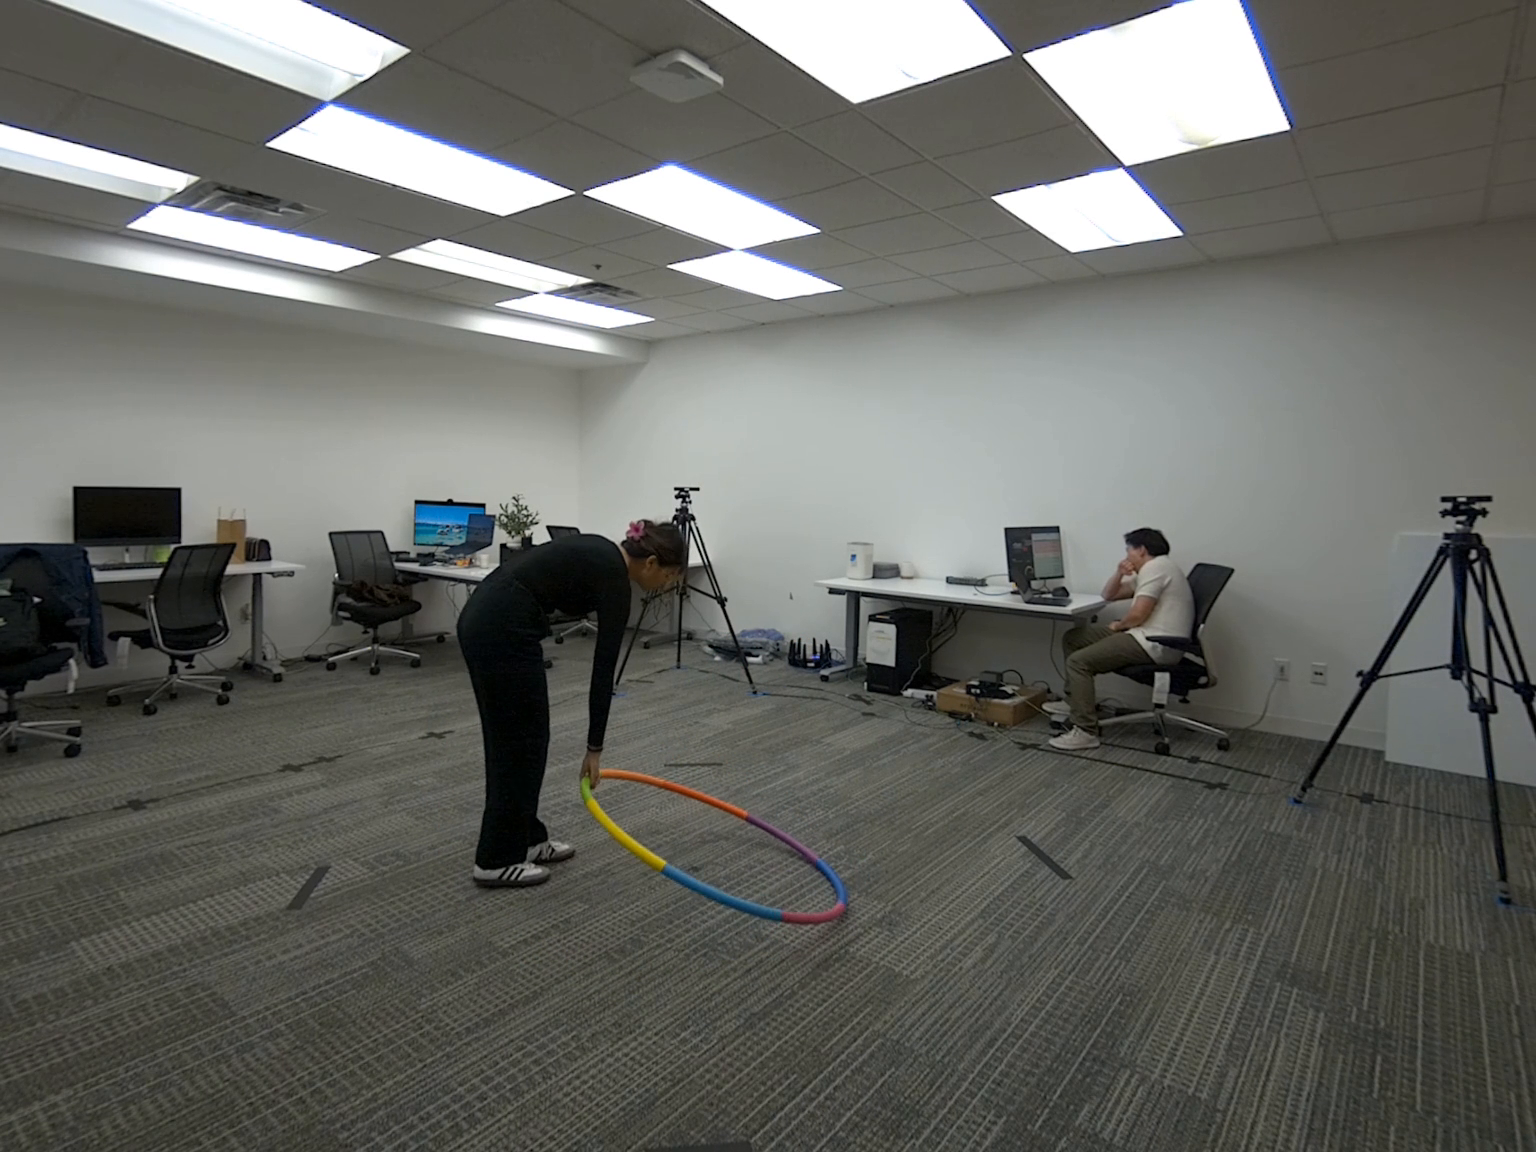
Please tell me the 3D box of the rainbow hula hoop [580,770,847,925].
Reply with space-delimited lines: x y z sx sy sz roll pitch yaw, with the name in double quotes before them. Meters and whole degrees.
"rainbow hula hoop" -0.189 0.889 2.922 0.979 0.035 0.978 23 -1 -1
